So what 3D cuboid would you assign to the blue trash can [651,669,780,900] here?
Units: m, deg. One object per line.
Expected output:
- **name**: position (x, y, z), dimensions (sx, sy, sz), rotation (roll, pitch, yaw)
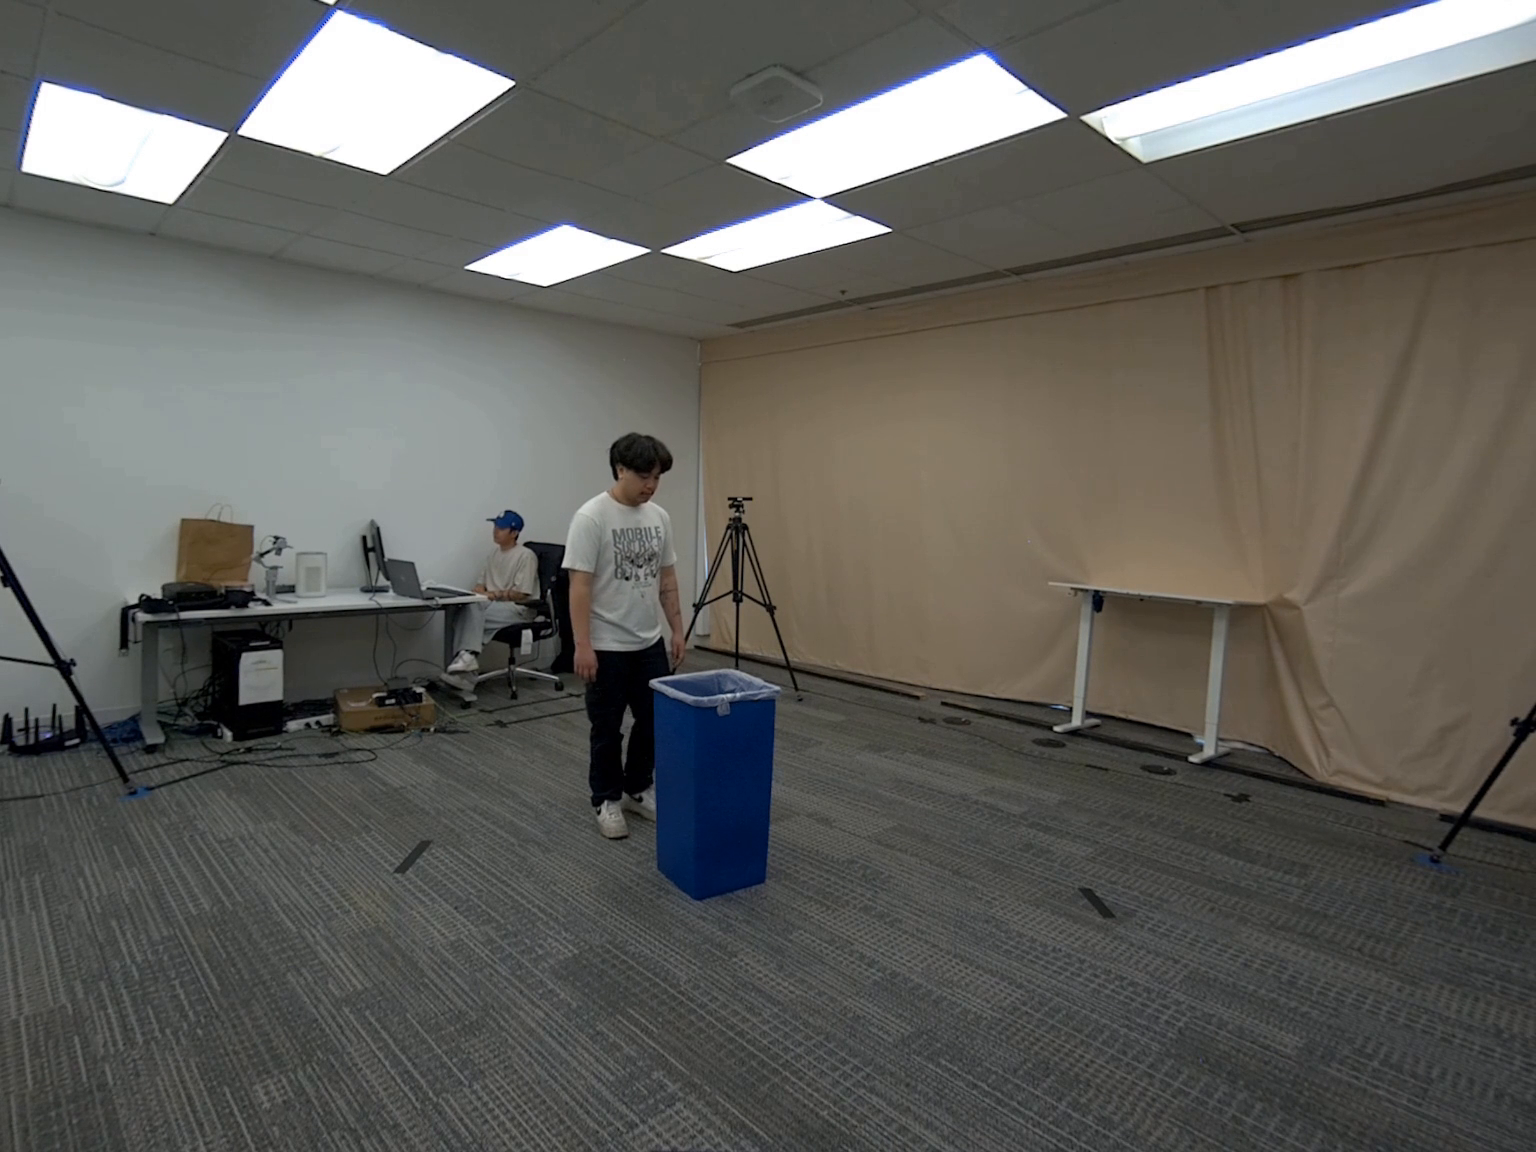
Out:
- **blue trash can**: position (-0.215, 0.749, 3.094), dimensions (0.370, 0.712, 0.383), rotation (-1, 4, -34)
